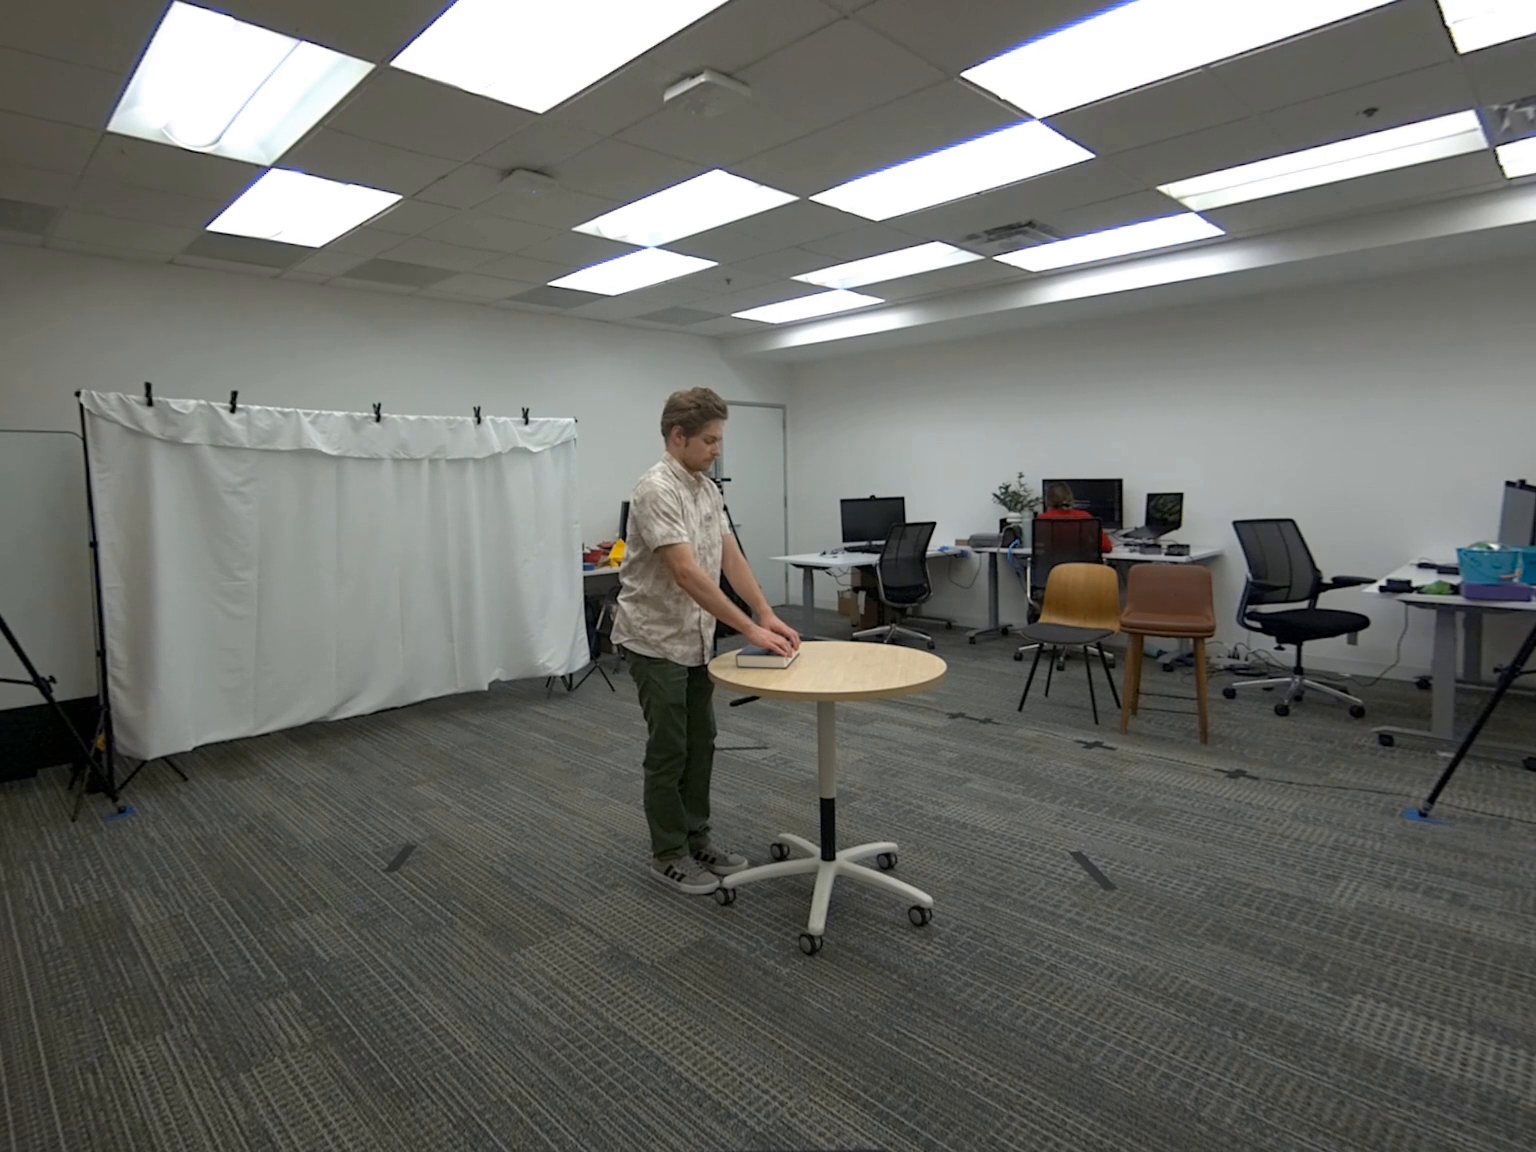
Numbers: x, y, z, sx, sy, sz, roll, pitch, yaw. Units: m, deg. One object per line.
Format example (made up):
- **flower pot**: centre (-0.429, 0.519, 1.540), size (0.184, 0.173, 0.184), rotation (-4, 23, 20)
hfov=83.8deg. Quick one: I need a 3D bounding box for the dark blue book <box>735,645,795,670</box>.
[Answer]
- **dark blue book**: centre (0.002, 0.262, 2.840), size (0.166, 0.045, 0.243), rotation (0, 5, 13)
